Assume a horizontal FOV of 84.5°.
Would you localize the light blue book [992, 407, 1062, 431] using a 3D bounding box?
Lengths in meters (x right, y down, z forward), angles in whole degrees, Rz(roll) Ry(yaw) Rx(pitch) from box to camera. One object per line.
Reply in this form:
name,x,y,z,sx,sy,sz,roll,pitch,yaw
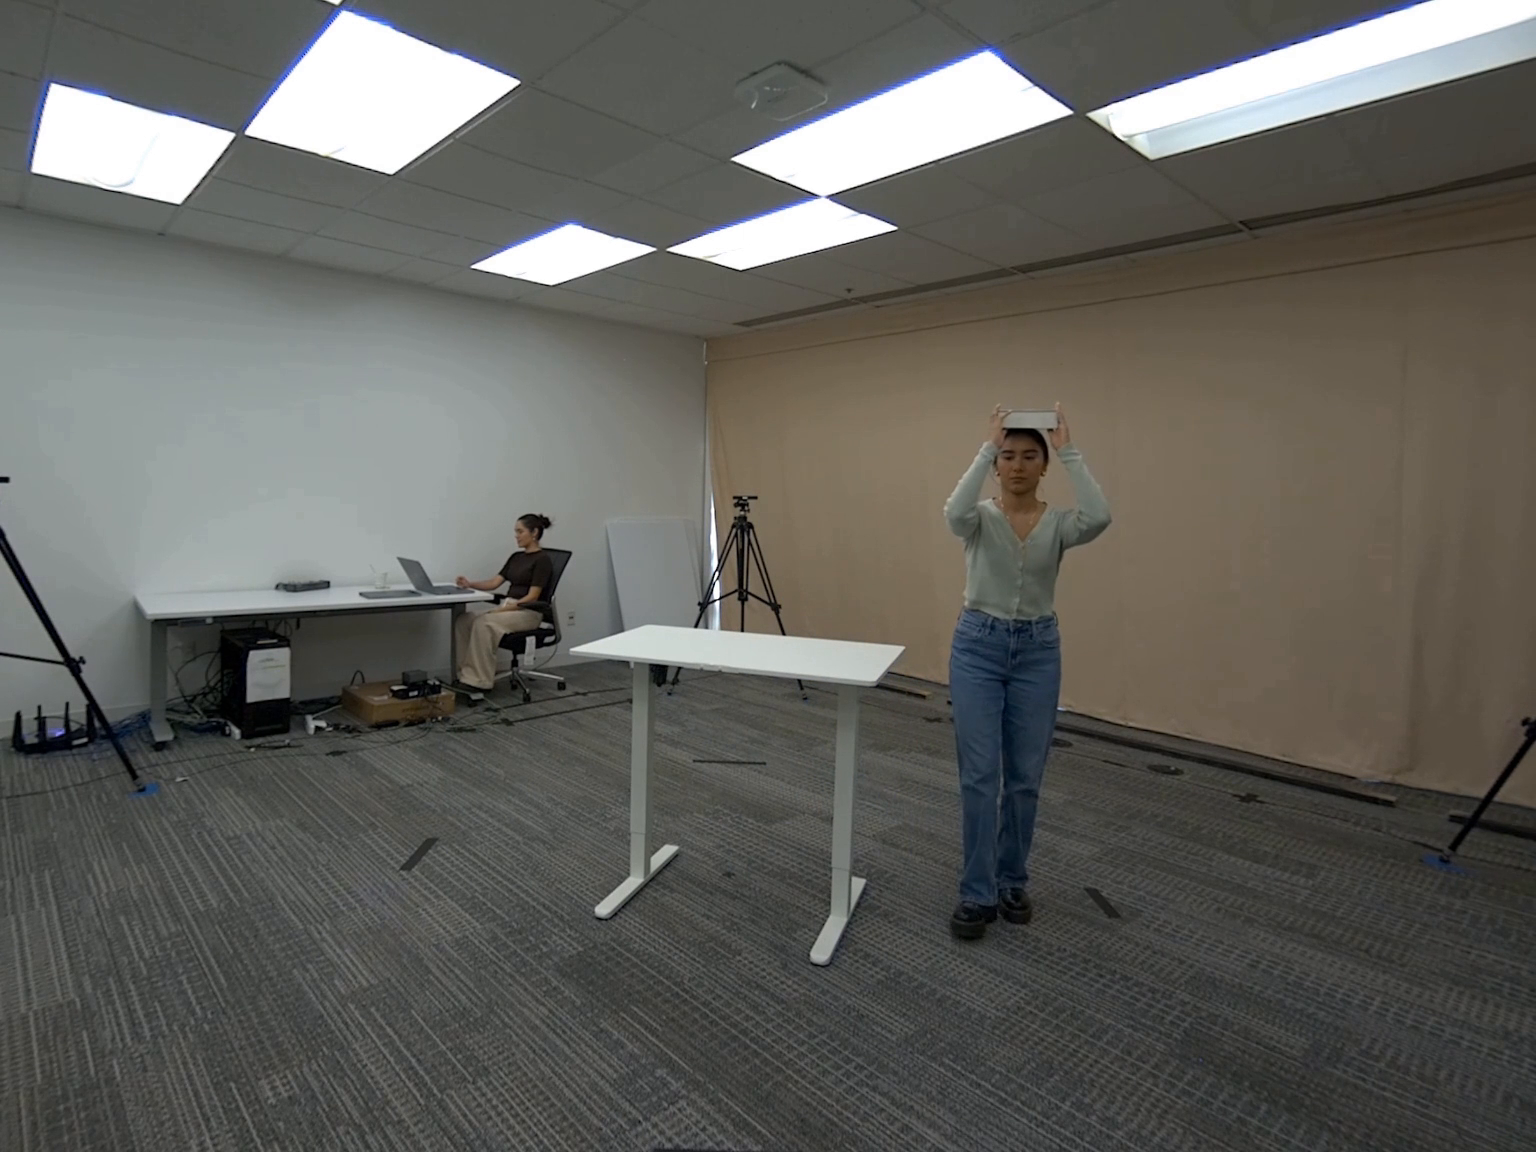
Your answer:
light blue book,0.850,-0.522,2.811,0.193,0.059,0.260,4,9,11
